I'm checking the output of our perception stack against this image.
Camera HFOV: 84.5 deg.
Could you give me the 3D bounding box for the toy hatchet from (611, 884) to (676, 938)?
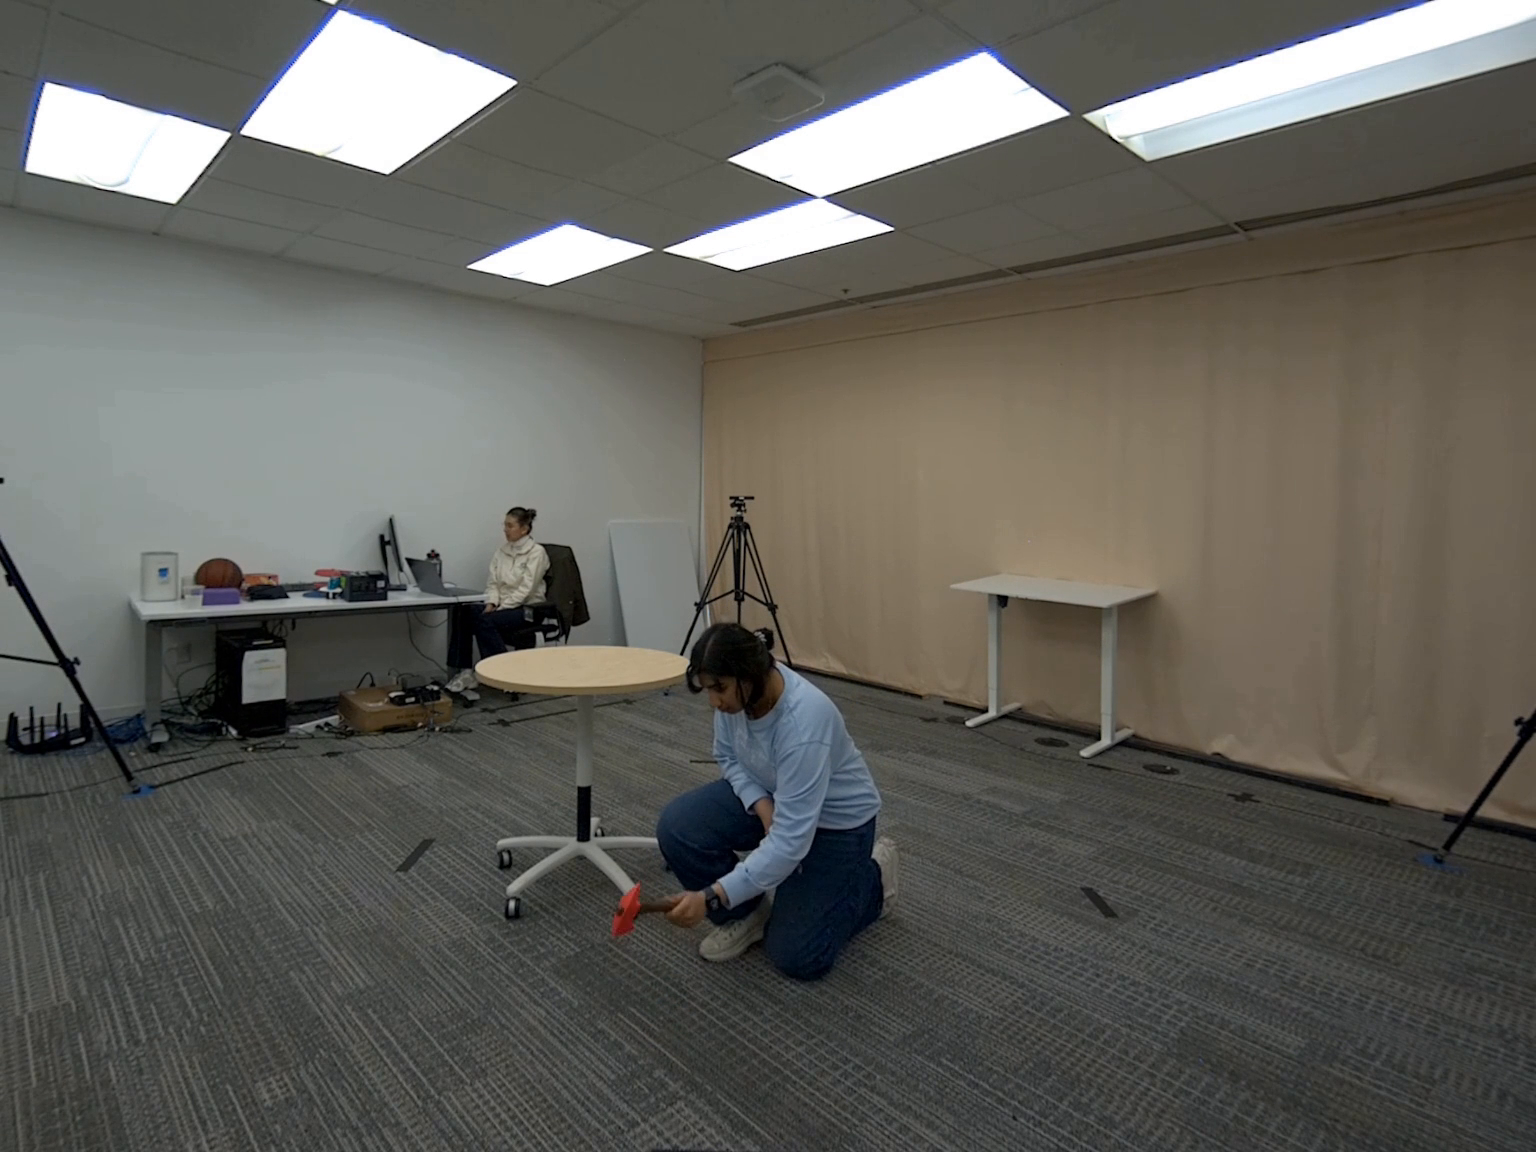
[{"bbox_3d":[-0.281,0.817,2.004,0.030,0.131,0.261,27,-14,43],"label":"toy hatchet"}]
